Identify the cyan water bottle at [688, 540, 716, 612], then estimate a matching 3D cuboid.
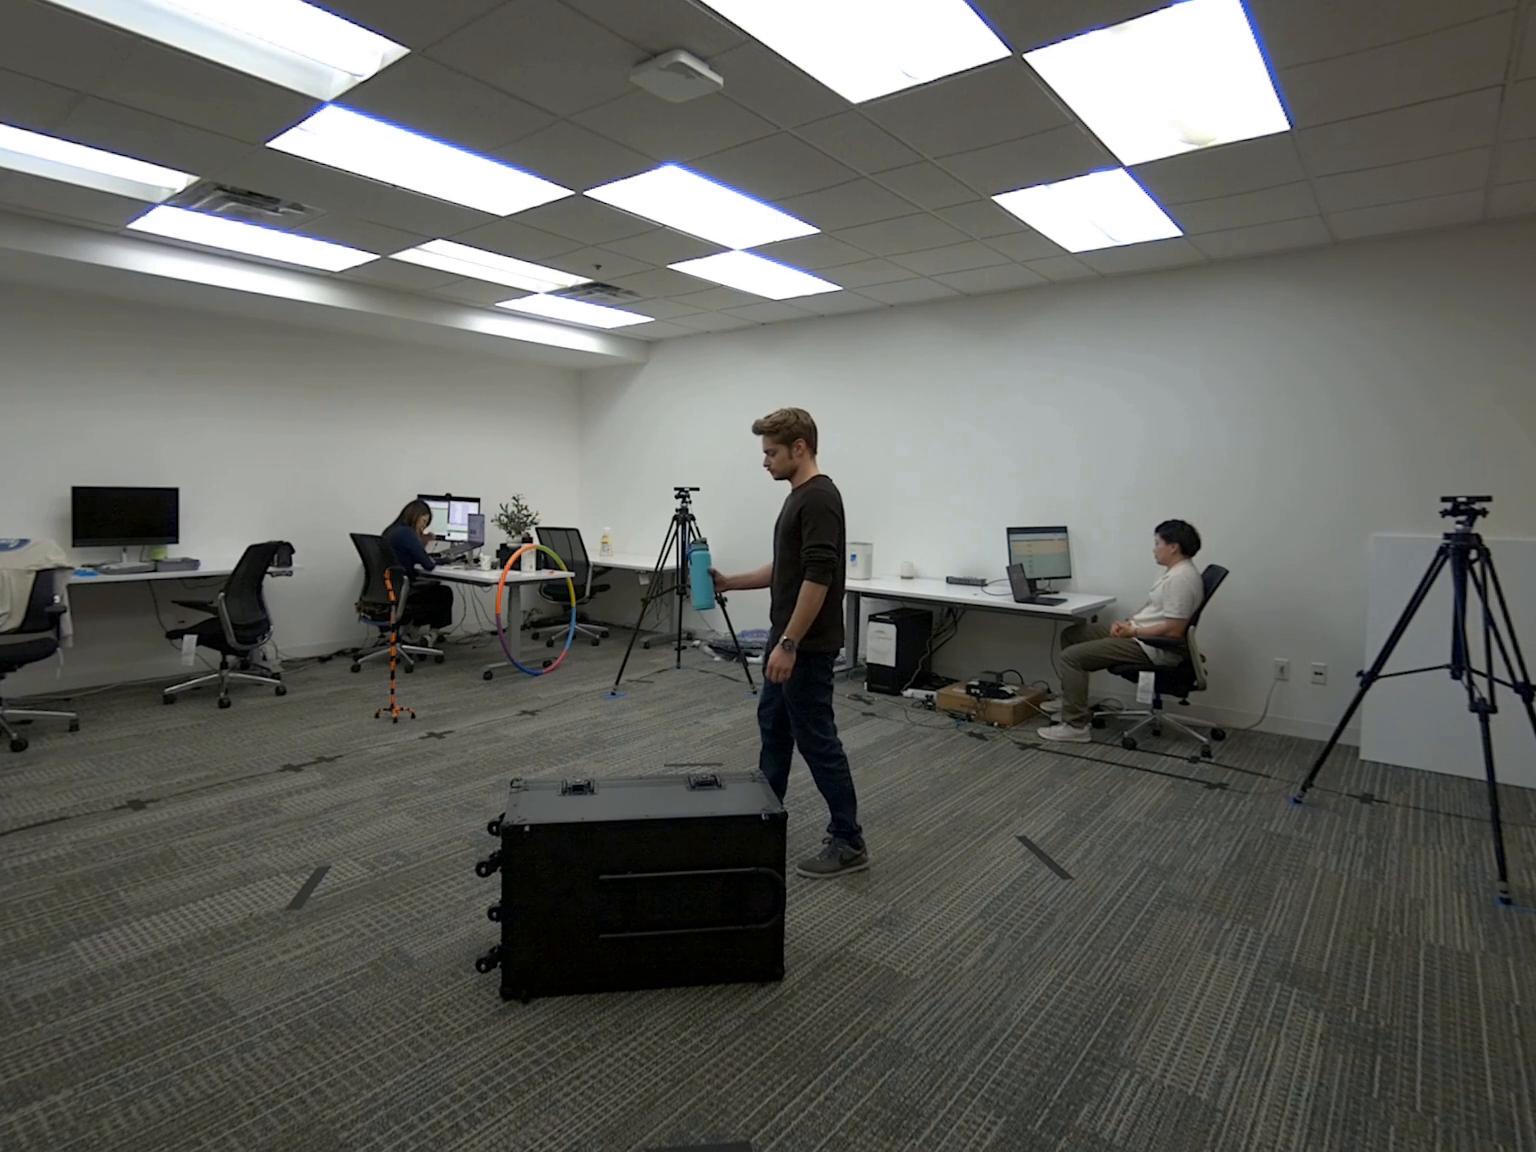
[{"bbox_3d":[-0.276,-0.015,3.372,0.092,0.285,0.092,-7,-4,-2],"label":"cyan water bottle"}]
